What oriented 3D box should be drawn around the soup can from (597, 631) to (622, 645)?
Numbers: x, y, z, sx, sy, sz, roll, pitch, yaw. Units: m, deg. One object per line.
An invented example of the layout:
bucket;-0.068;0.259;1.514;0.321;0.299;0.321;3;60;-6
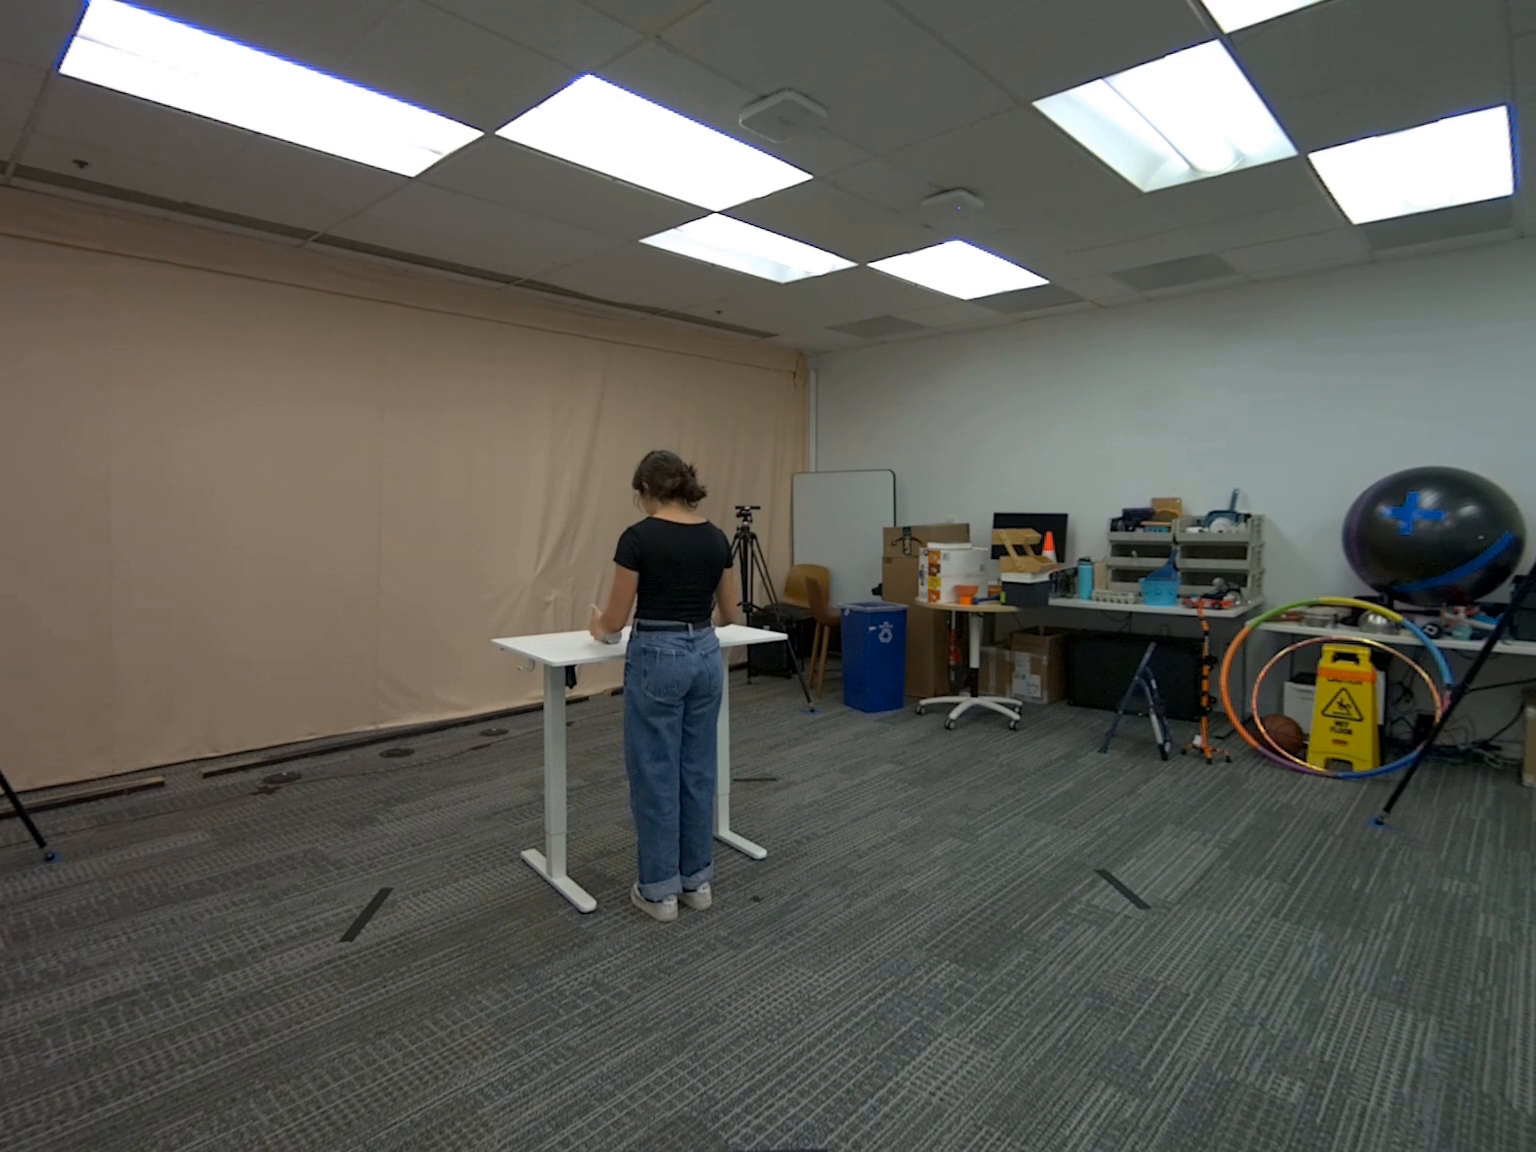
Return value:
soup can;-0.598;0.220;3.180;0.065;0.067;0.125;-2;4;-29
